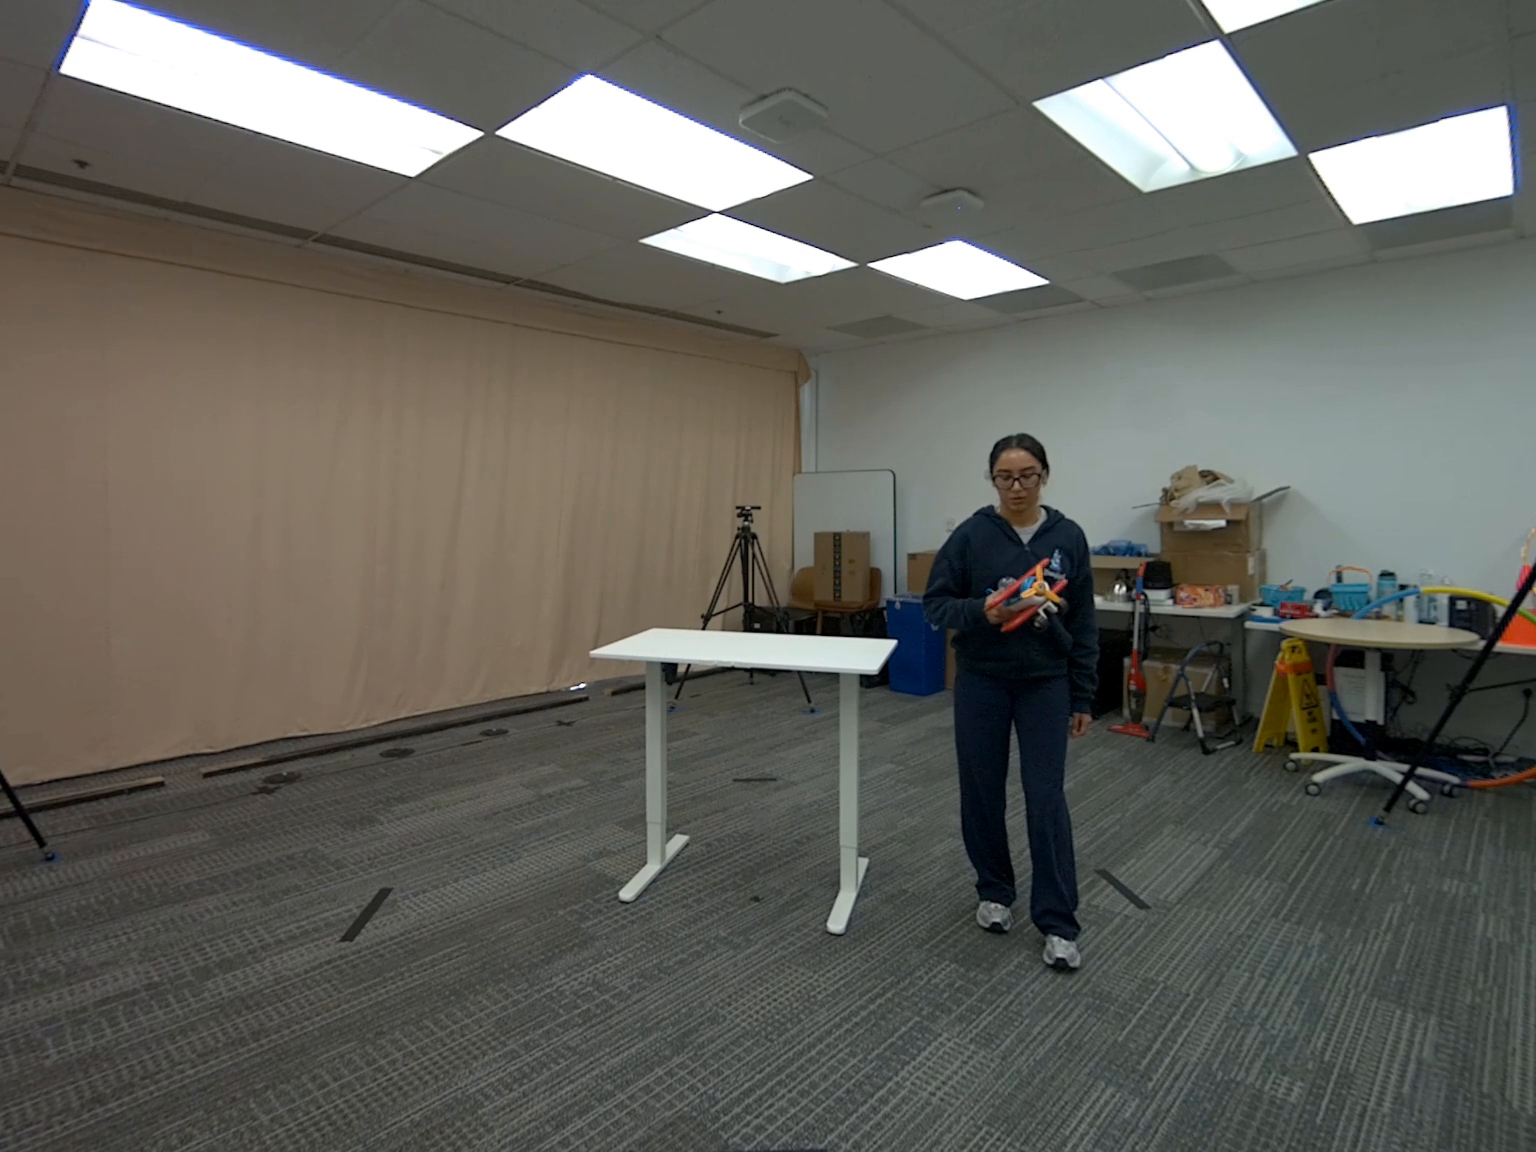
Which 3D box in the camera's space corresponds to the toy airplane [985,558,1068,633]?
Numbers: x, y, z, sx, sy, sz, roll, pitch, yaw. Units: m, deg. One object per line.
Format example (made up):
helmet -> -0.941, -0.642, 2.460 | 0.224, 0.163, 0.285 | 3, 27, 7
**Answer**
toy airplane -> 0.751, 0.076, 2.502 | 0.264, 0.155, 0.248 | -27, 9, 43
